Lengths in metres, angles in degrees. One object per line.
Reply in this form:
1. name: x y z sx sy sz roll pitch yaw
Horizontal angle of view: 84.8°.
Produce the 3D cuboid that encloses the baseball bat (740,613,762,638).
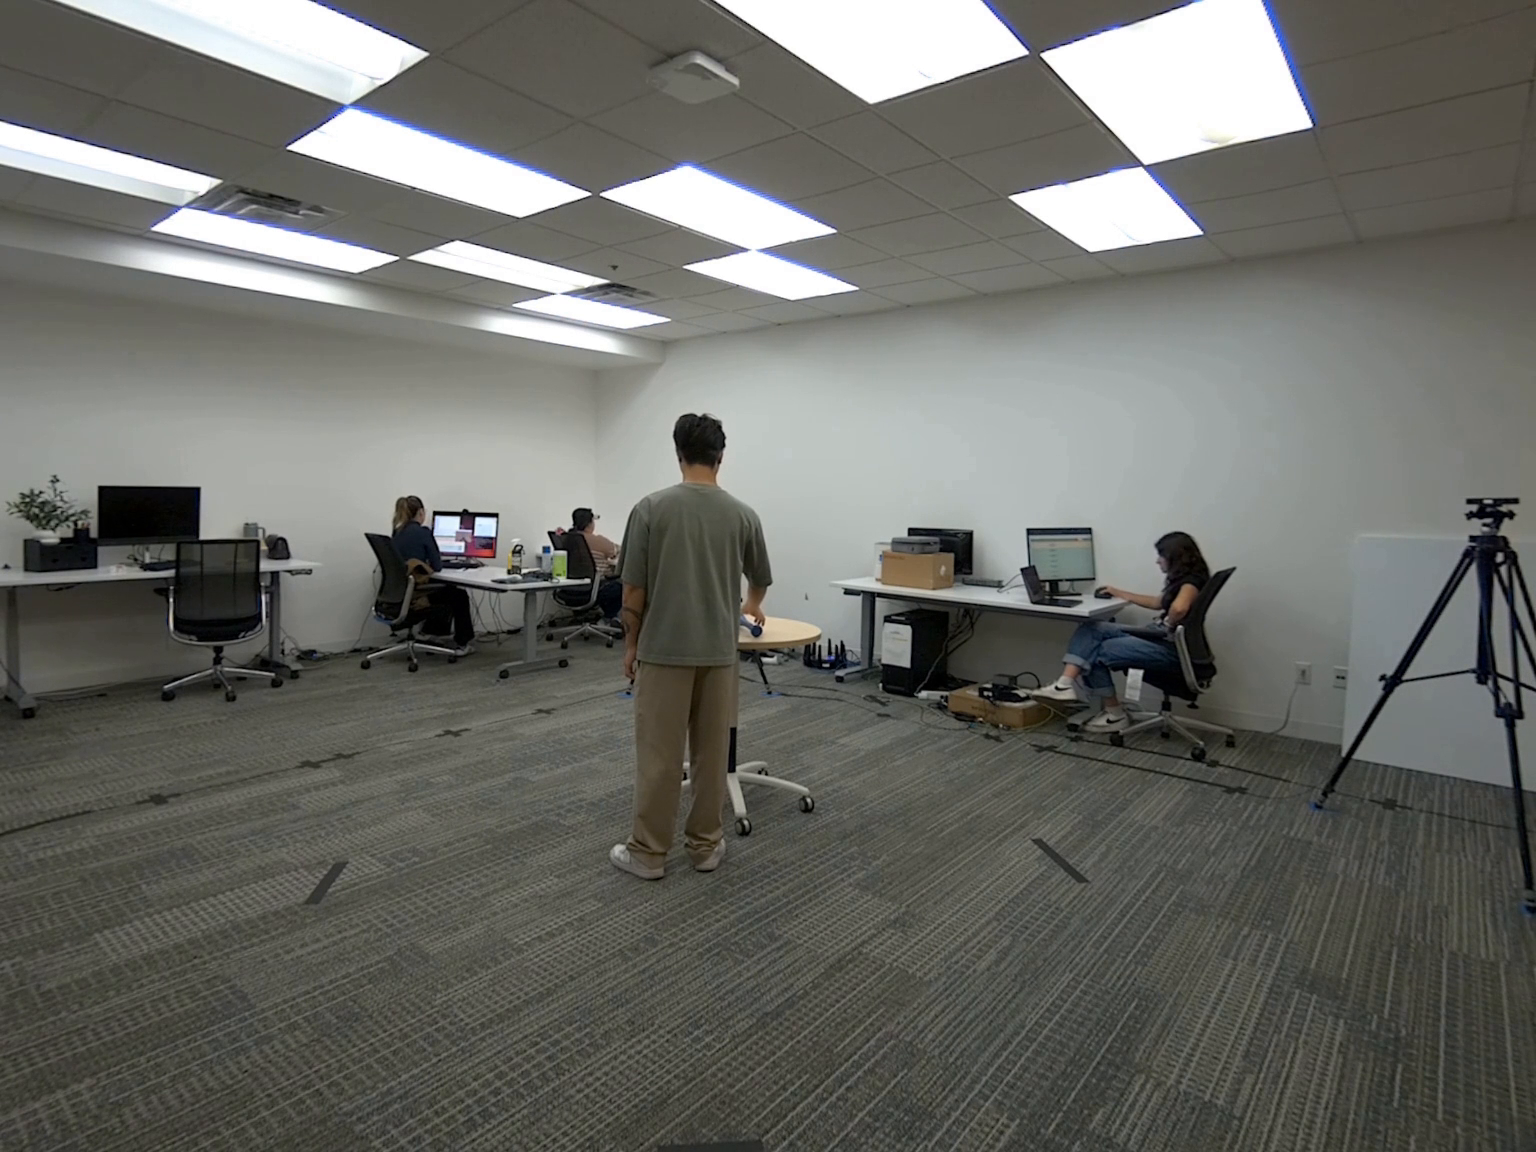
1. baseball bat: -0.147 0.182 3.739 0.087 0.088 0.558 -1 9 -21
